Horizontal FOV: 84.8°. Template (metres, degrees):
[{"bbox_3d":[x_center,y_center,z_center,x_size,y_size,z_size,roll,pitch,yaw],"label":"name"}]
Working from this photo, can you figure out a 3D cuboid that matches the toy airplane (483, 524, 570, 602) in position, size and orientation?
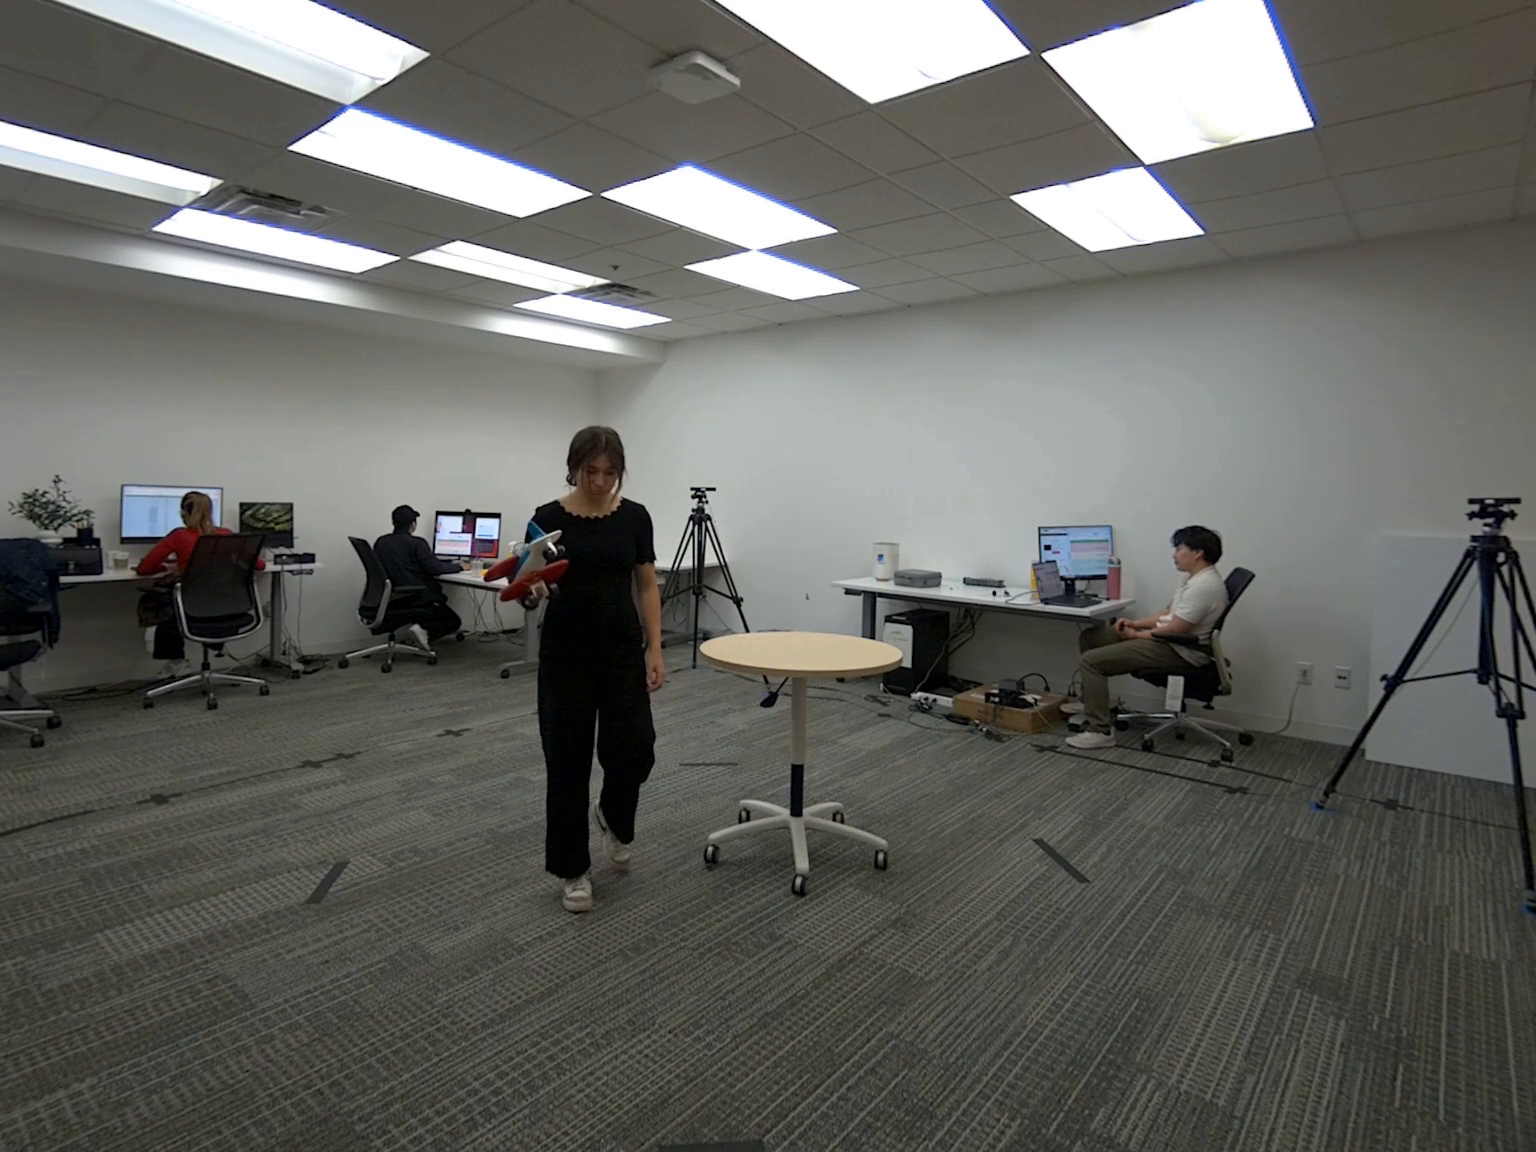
[{"bbox_3d":[-0.693,-0.039,2.534,0.161,0.259,0.244,36,9,20],"label":"toy airplane"}]
